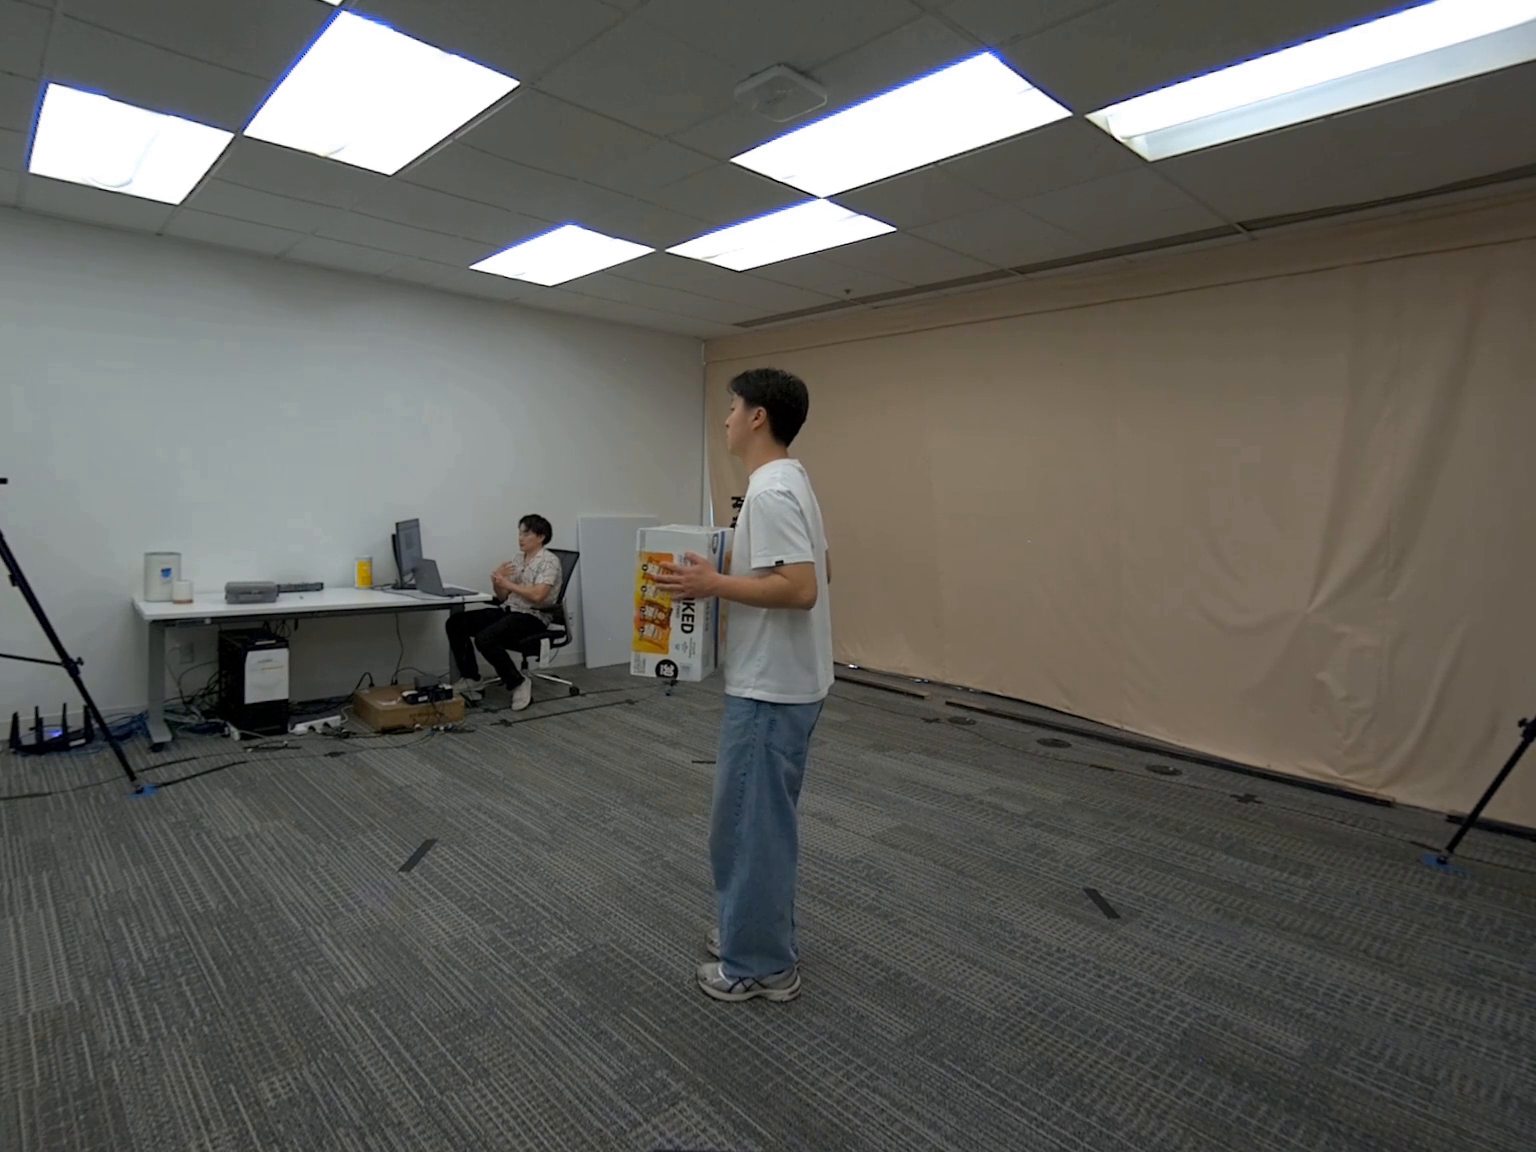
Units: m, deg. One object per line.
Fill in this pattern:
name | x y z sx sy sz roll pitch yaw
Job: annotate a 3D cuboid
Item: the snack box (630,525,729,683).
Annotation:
snack box | -0.240 0.066 2.434 0.208 0.404 0.338 3 4 10
